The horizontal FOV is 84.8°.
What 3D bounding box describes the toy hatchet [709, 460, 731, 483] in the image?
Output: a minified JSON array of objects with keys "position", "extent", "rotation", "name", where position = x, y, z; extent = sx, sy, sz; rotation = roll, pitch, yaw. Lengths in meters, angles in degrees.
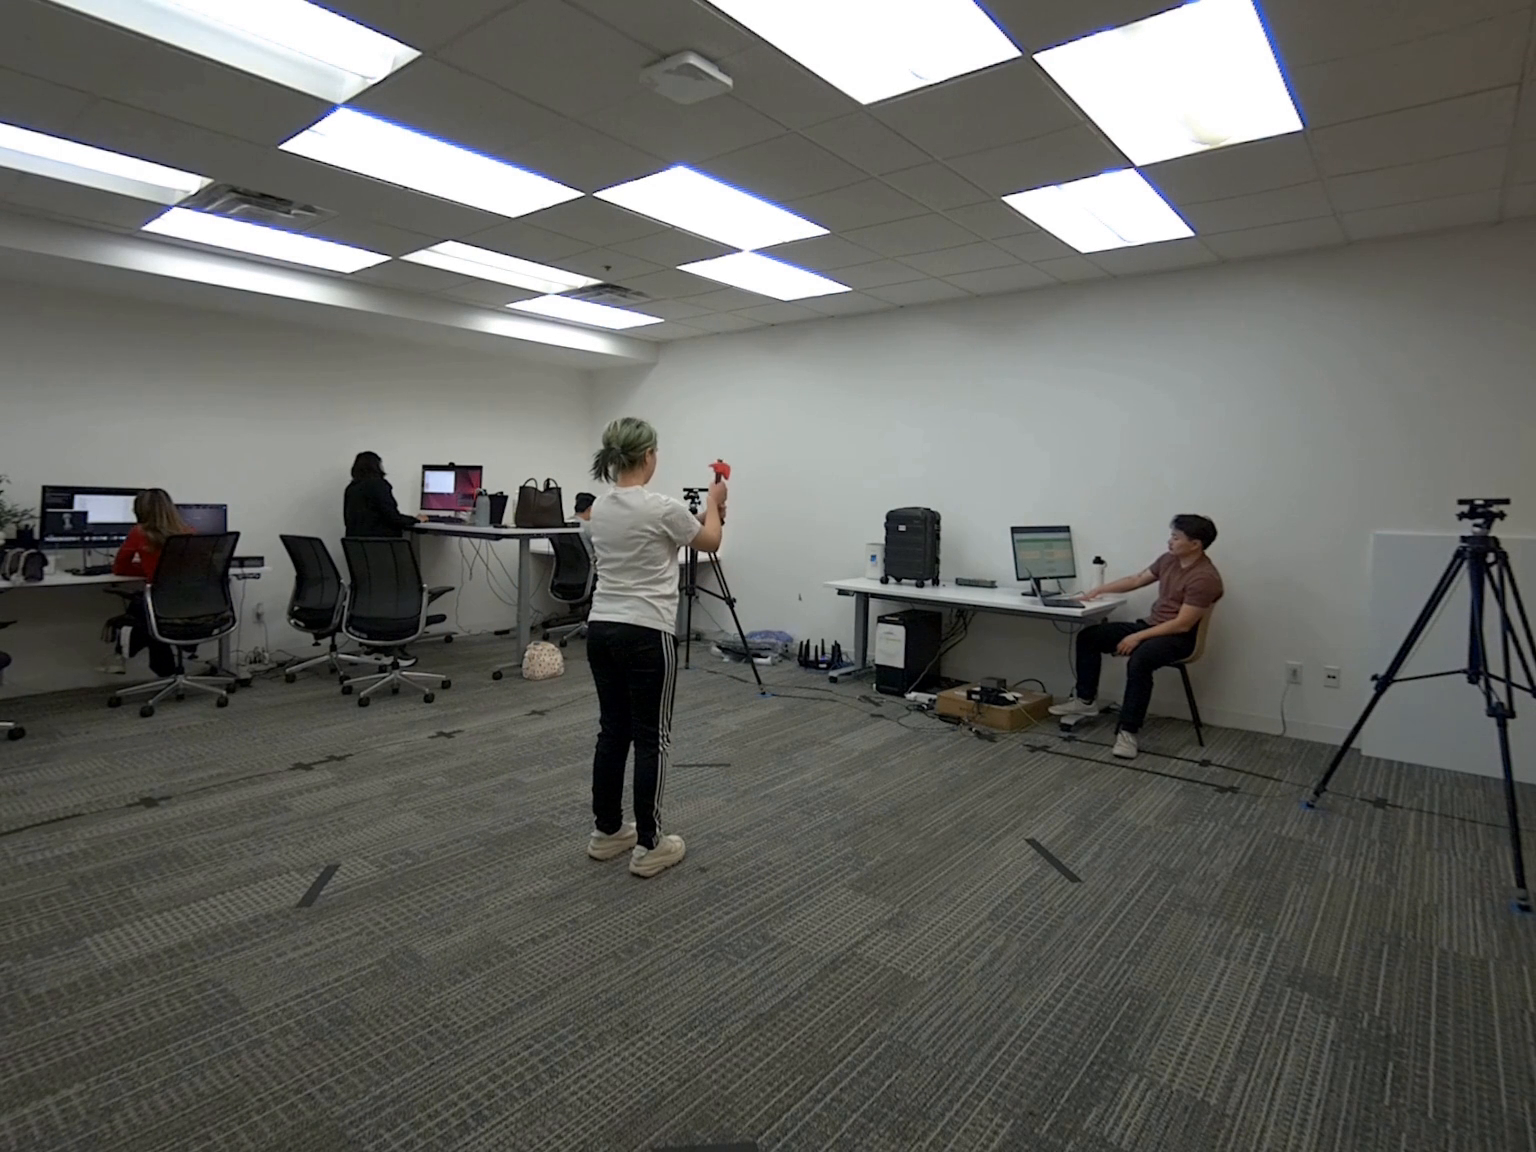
[{"position":[-0.199,-0.346,3.486],"extent":[0.030,0.266,0.129],"rotation":[4,19,38],"name":"toy hatchet"}]
